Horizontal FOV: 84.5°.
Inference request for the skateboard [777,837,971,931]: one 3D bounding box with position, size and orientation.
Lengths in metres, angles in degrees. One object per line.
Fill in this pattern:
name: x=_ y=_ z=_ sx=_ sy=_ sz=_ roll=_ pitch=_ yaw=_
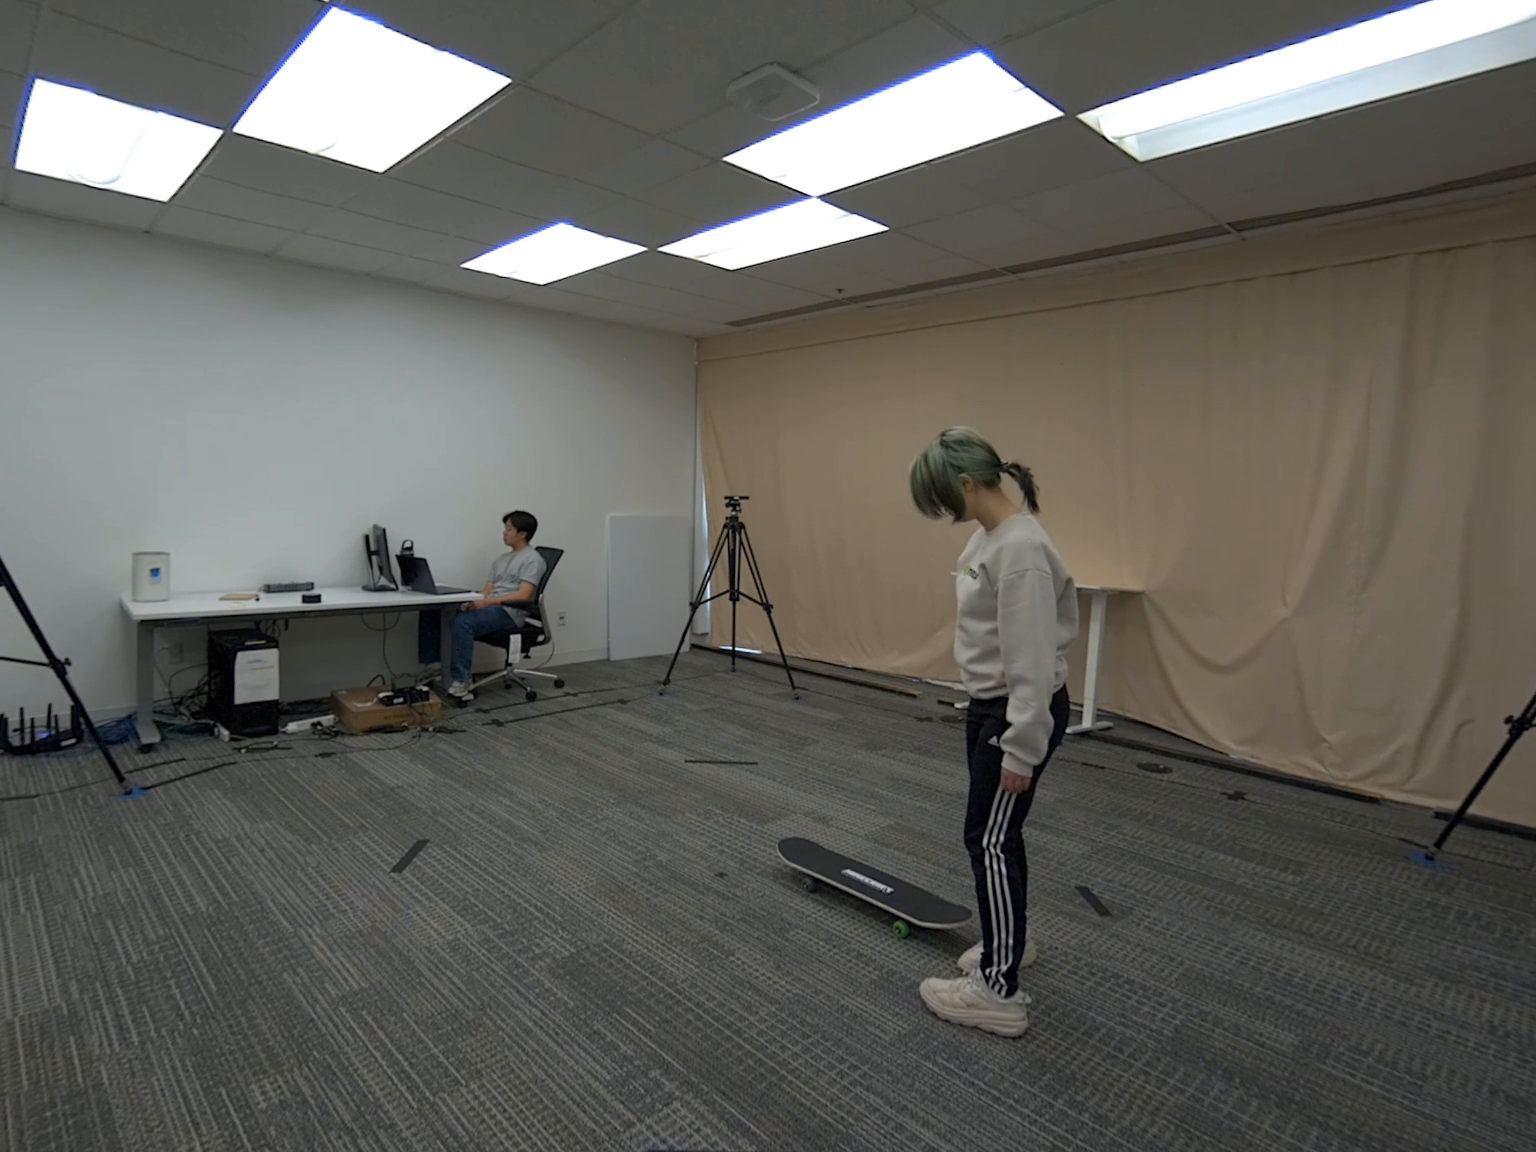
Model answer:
skateboard: x=0.330 y=1.083 z=2.889 sx=0.189 sy=0.110 sz=0.806 roll=-4 pitch=8 yaw=-43
